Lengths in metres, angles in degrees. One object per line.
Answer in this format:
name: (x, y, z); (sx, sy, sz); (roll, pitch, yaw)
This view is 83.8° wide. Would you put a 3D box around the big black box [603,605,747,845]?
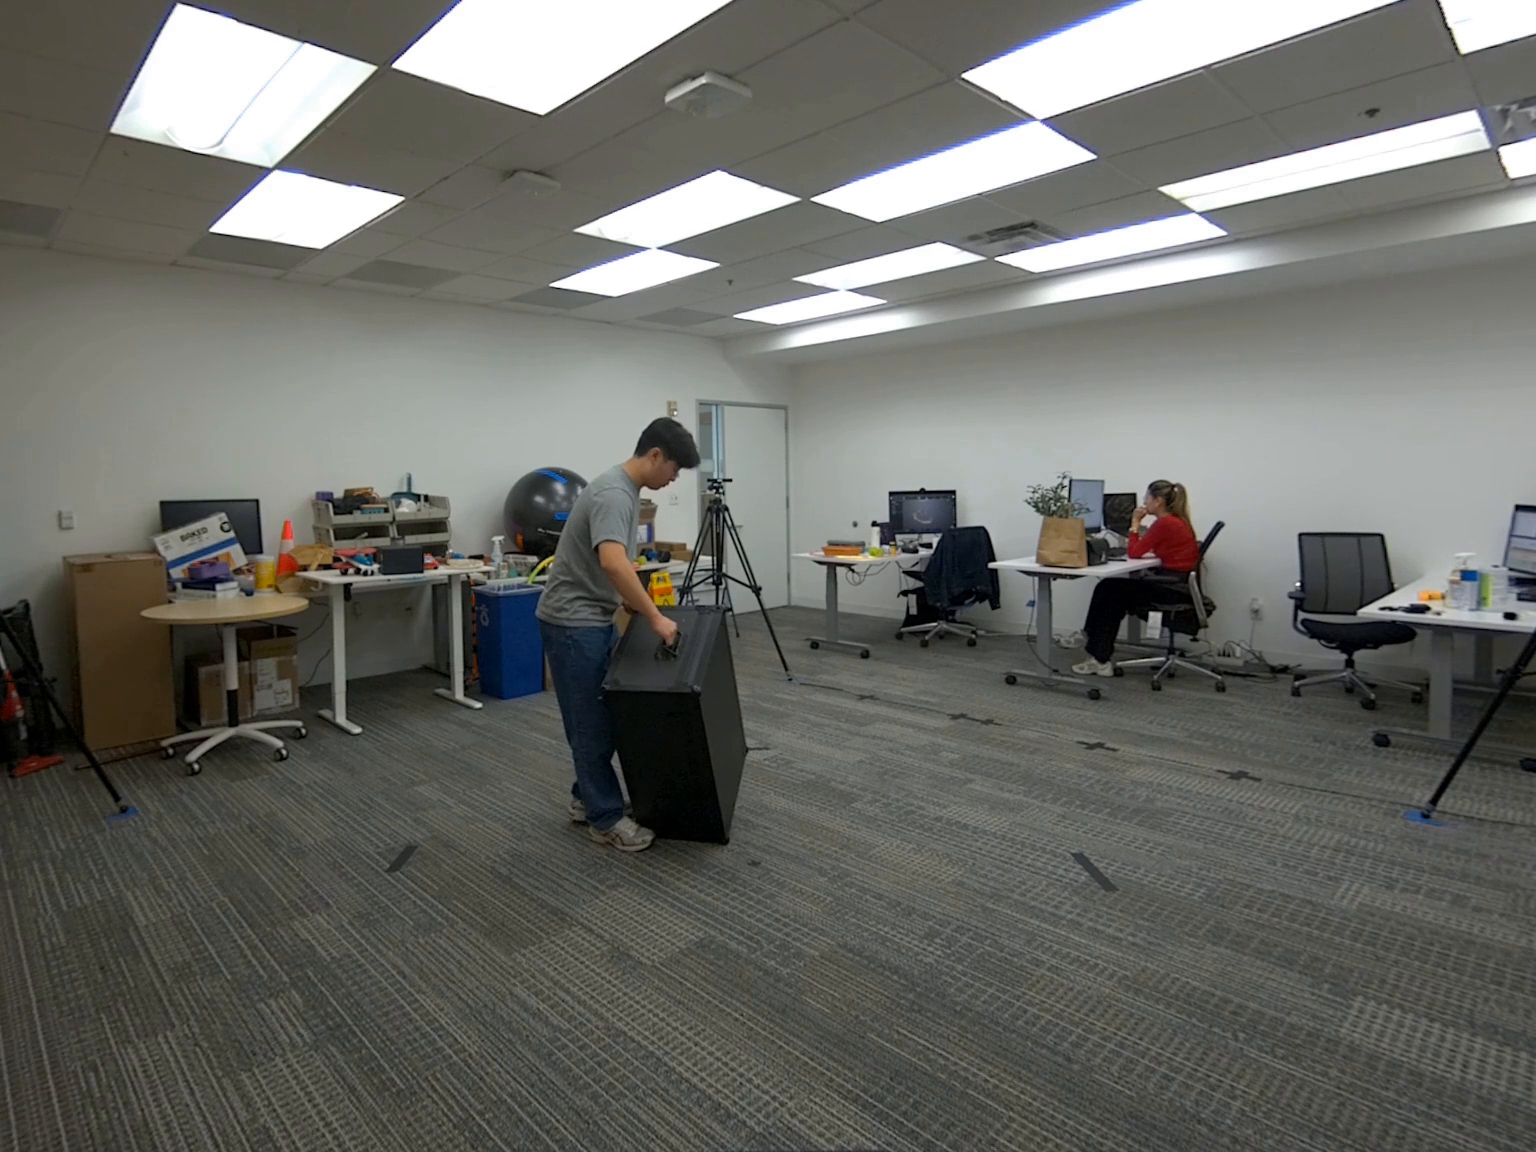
big black box: (-0.337, 0.596, 3.318); (0.401, 0.837, 0.530); (0, 34, 12)
